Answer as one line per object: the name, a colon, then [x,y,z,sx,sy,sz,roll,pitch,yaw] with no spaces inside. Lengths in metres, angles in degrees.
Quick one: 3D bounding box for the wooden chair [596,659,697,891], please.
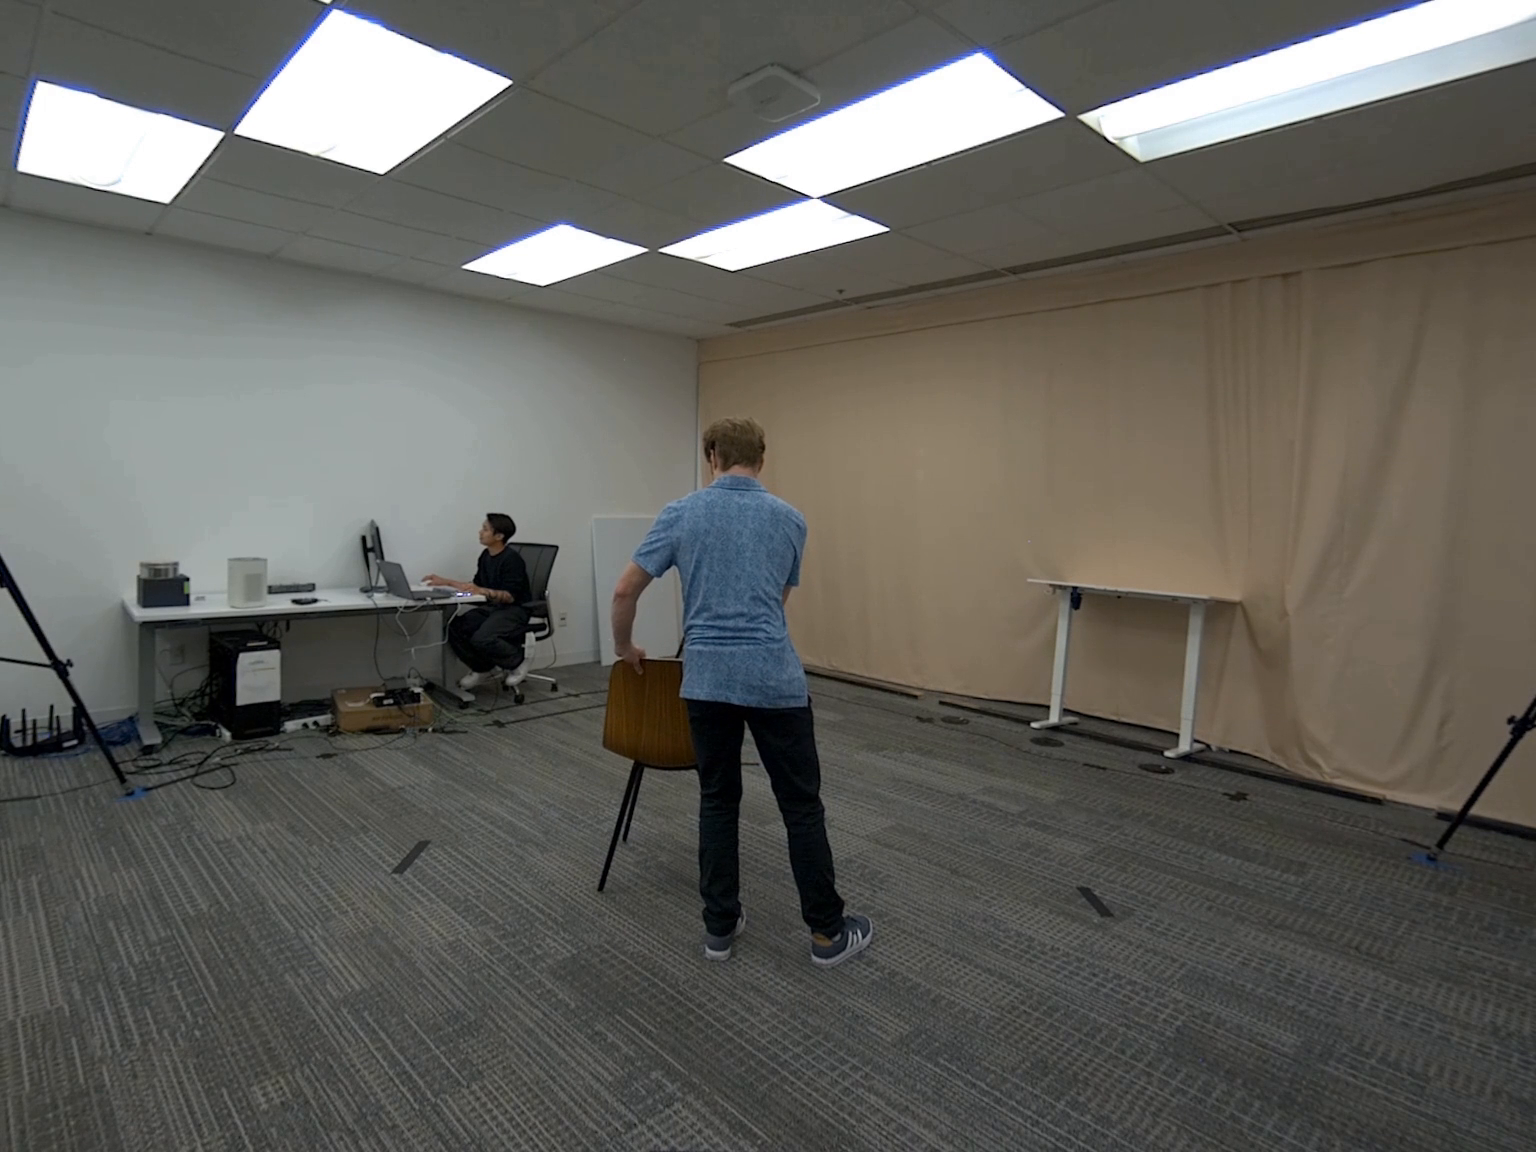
wooden chair: [-0.364,0.673,3.140,0.479,0.873,0.524,1,7,2]
